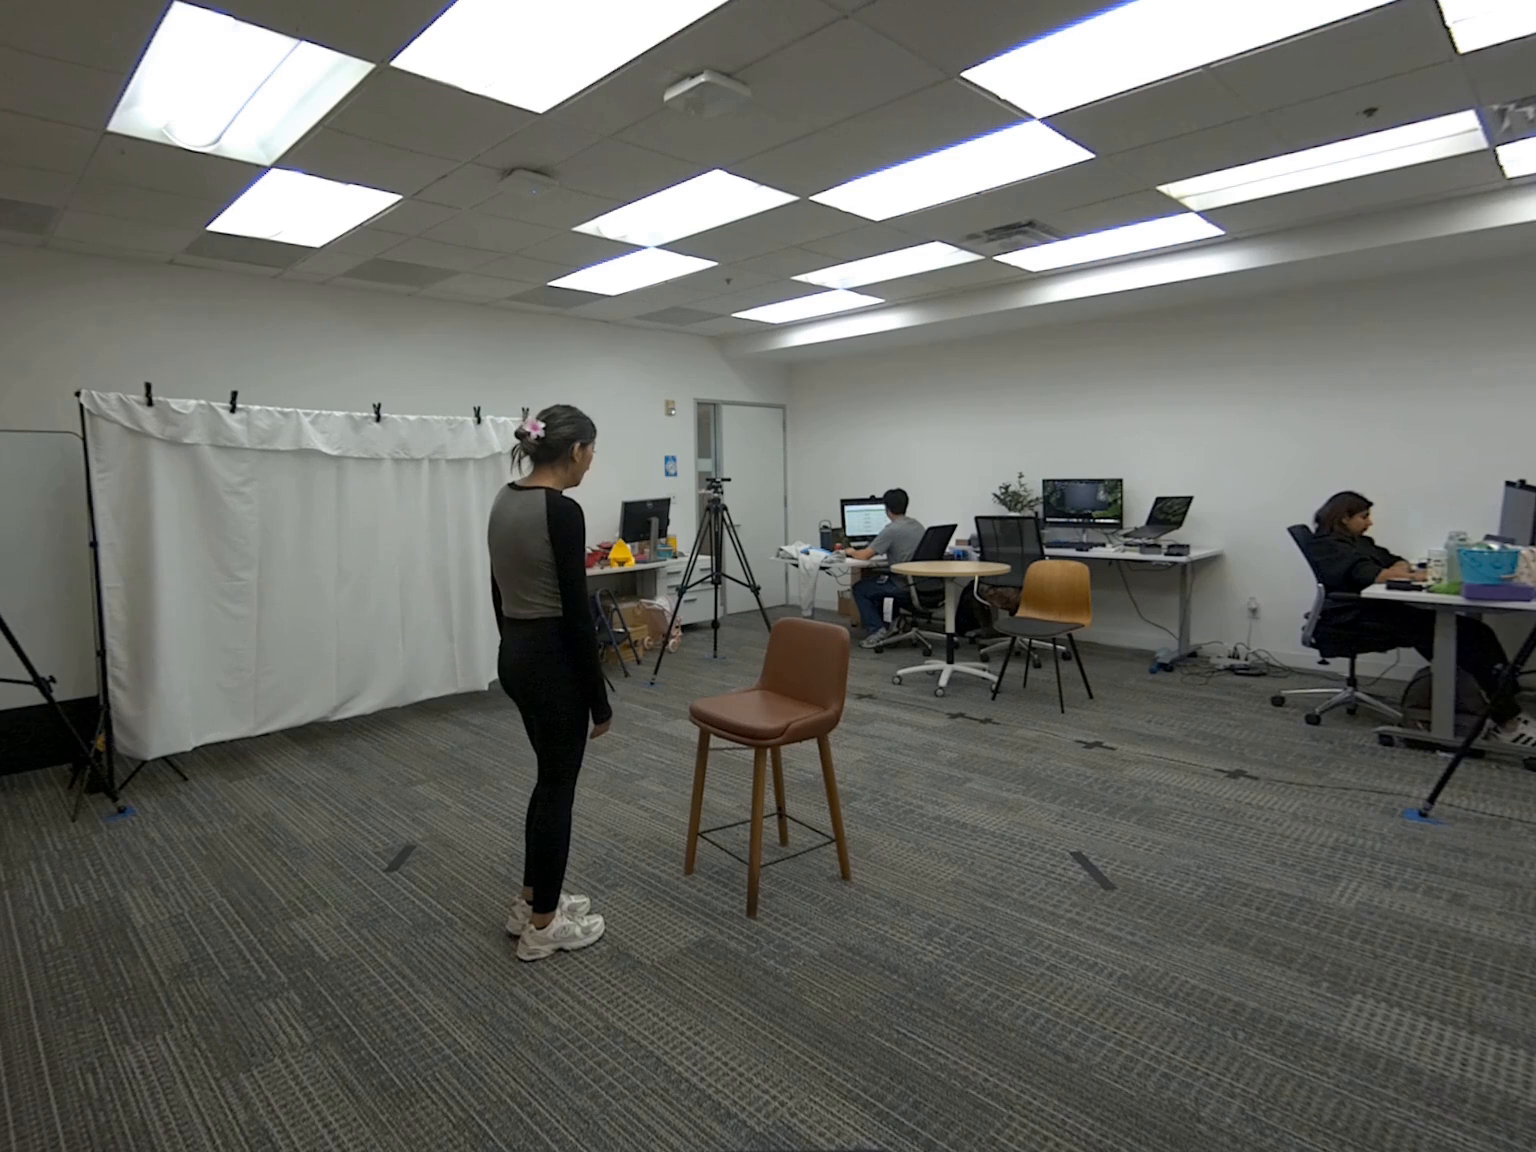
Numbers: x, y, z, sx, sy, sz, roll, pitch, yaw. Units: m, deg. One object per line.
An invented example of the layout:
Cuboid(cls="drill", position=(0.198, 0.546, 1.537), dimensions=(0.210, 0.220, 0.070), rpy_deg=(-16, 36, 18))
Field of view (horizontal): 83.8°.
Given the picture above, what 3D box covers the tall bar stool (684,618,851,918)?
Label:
Cuboid(cls="tall bar stool", position=(0.003, 0.621, 2.973), dimensions=(0.455, 0.888, 0.470), rpy_deg=(-2, 4, -36))
